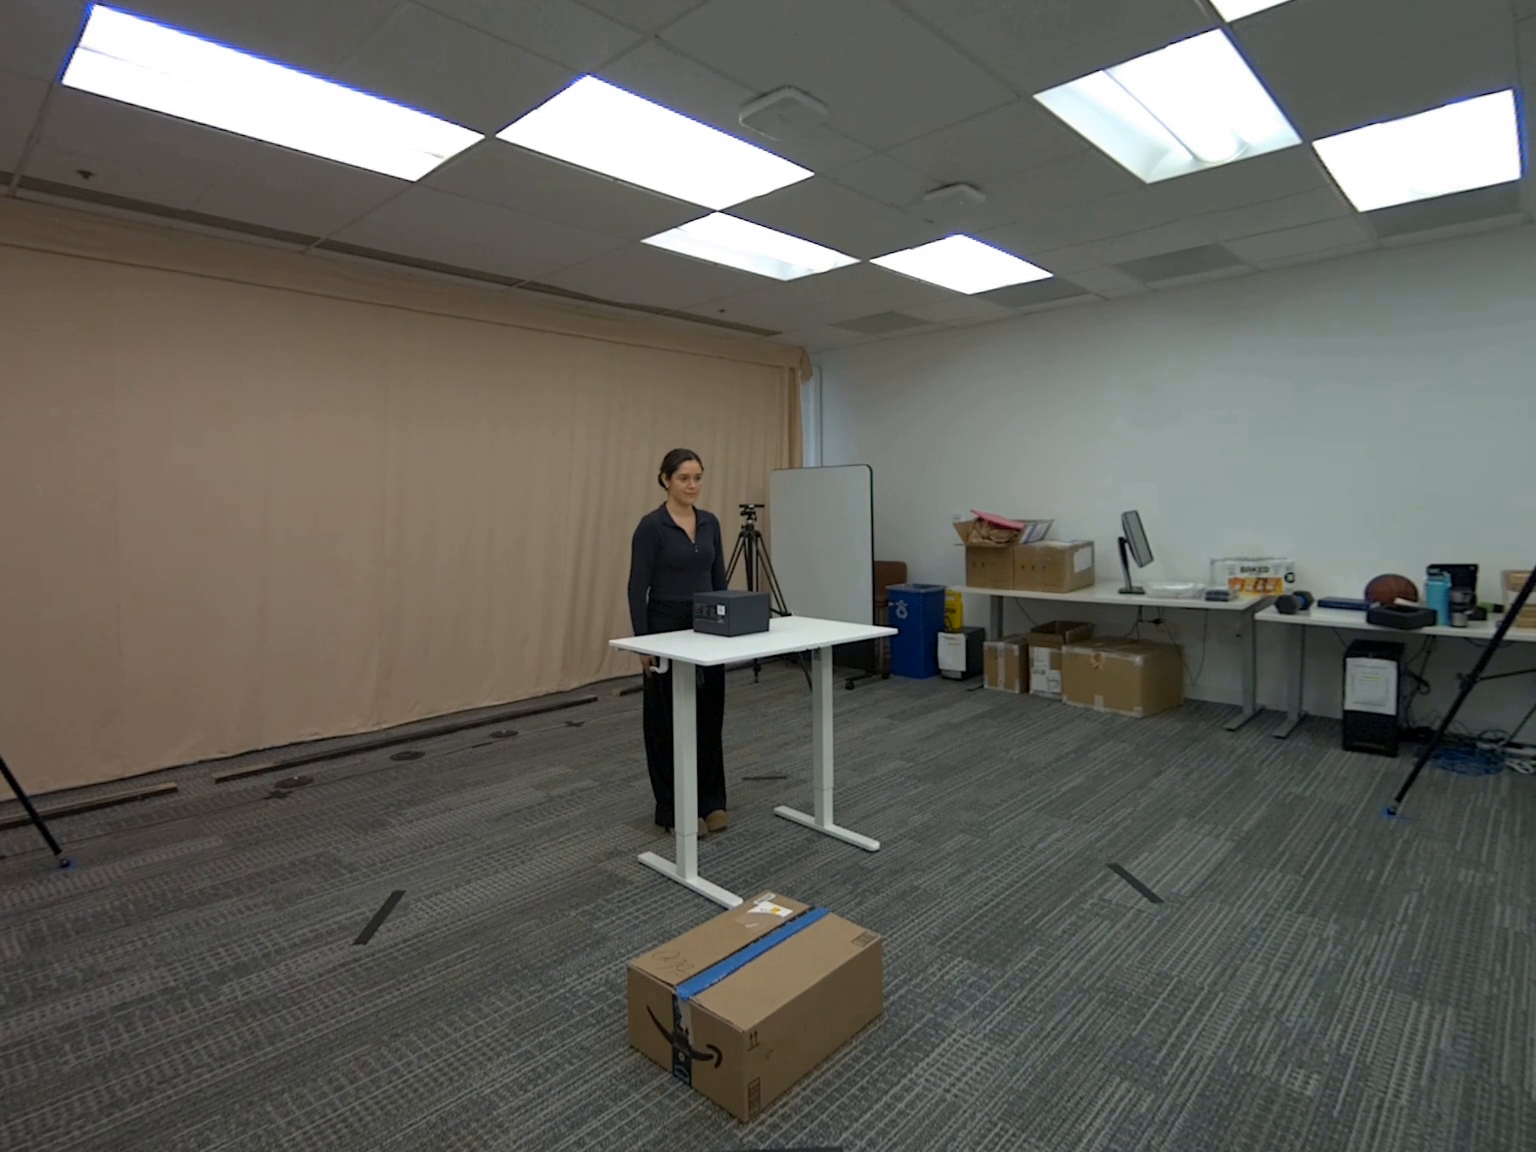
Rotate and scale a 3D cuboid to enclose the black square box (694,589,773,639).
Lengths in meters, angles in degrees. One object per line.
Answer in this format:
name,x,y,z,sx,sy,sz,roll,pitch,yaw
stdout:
black square box,-0.142,0.146,3.402,0.224,0.155,0.221,3,6,45
